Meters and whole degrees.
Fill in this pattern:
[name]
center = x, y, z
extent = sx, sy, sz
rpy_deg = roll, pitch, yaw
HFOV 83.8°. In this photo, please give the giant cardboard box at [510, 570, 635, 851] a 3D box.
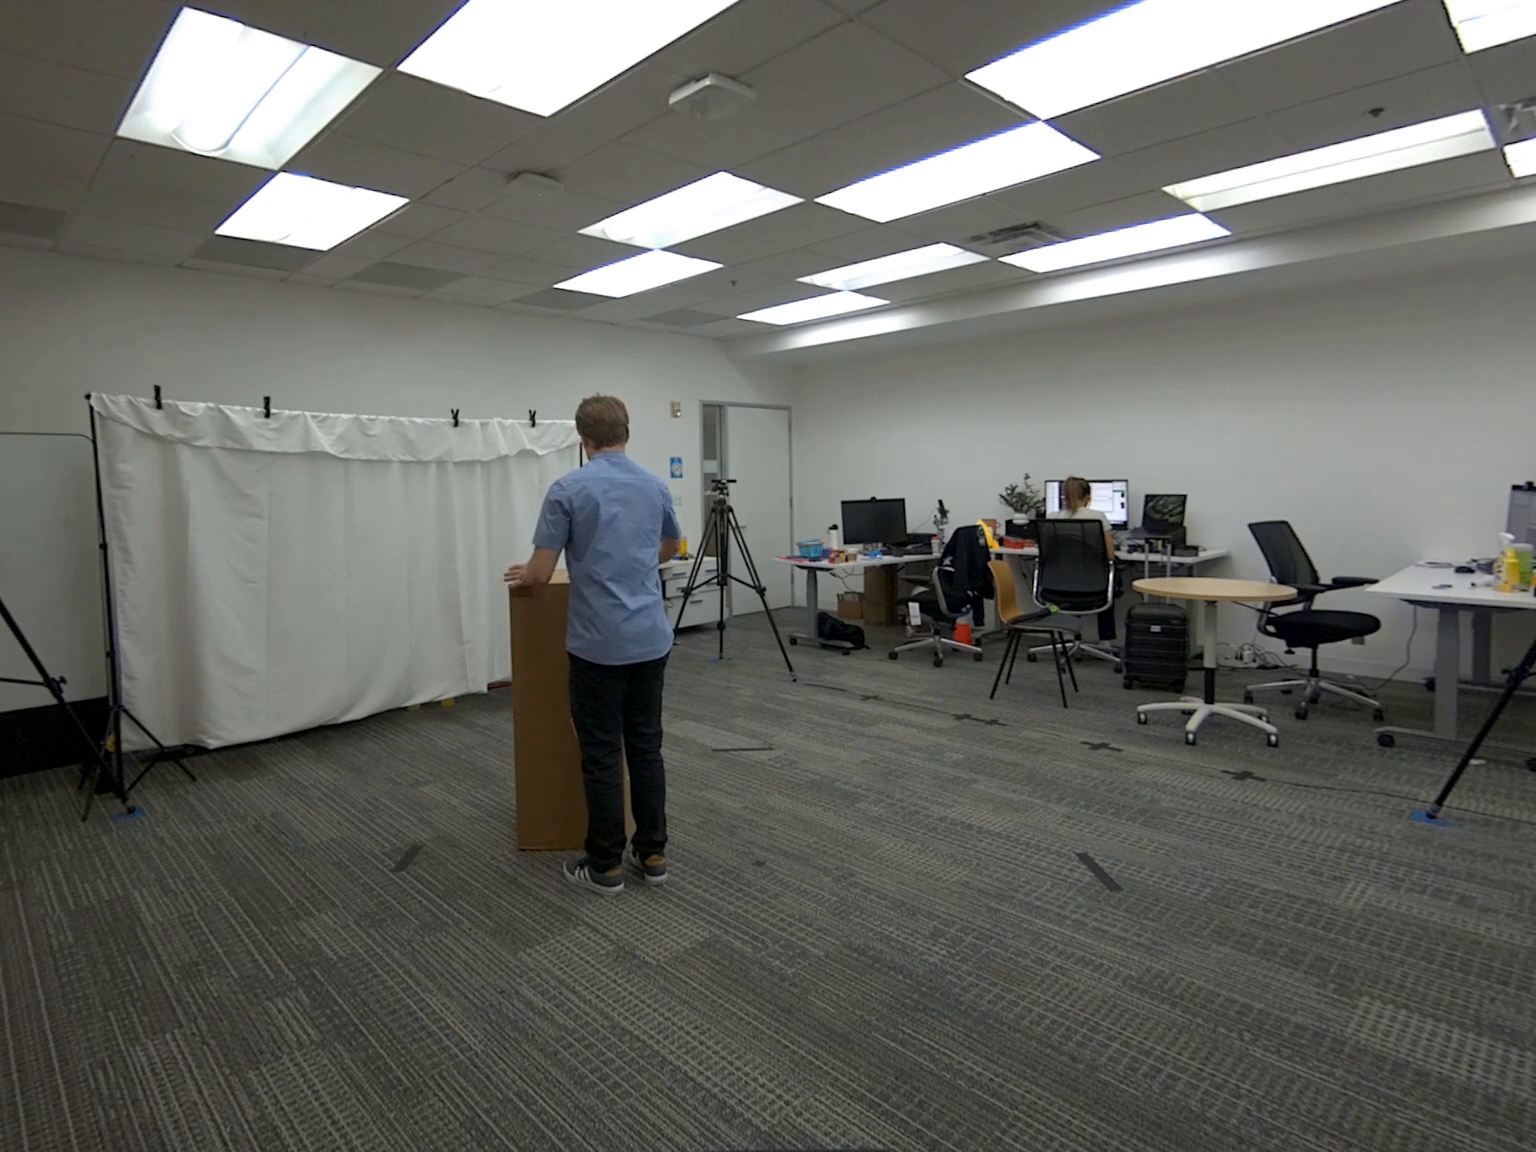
[giant cardboard box]
center = -0.772, 0.508, 3.522
extent = 0.427, 1.024, 0.578
rpy_deg = -1, 3, 0
